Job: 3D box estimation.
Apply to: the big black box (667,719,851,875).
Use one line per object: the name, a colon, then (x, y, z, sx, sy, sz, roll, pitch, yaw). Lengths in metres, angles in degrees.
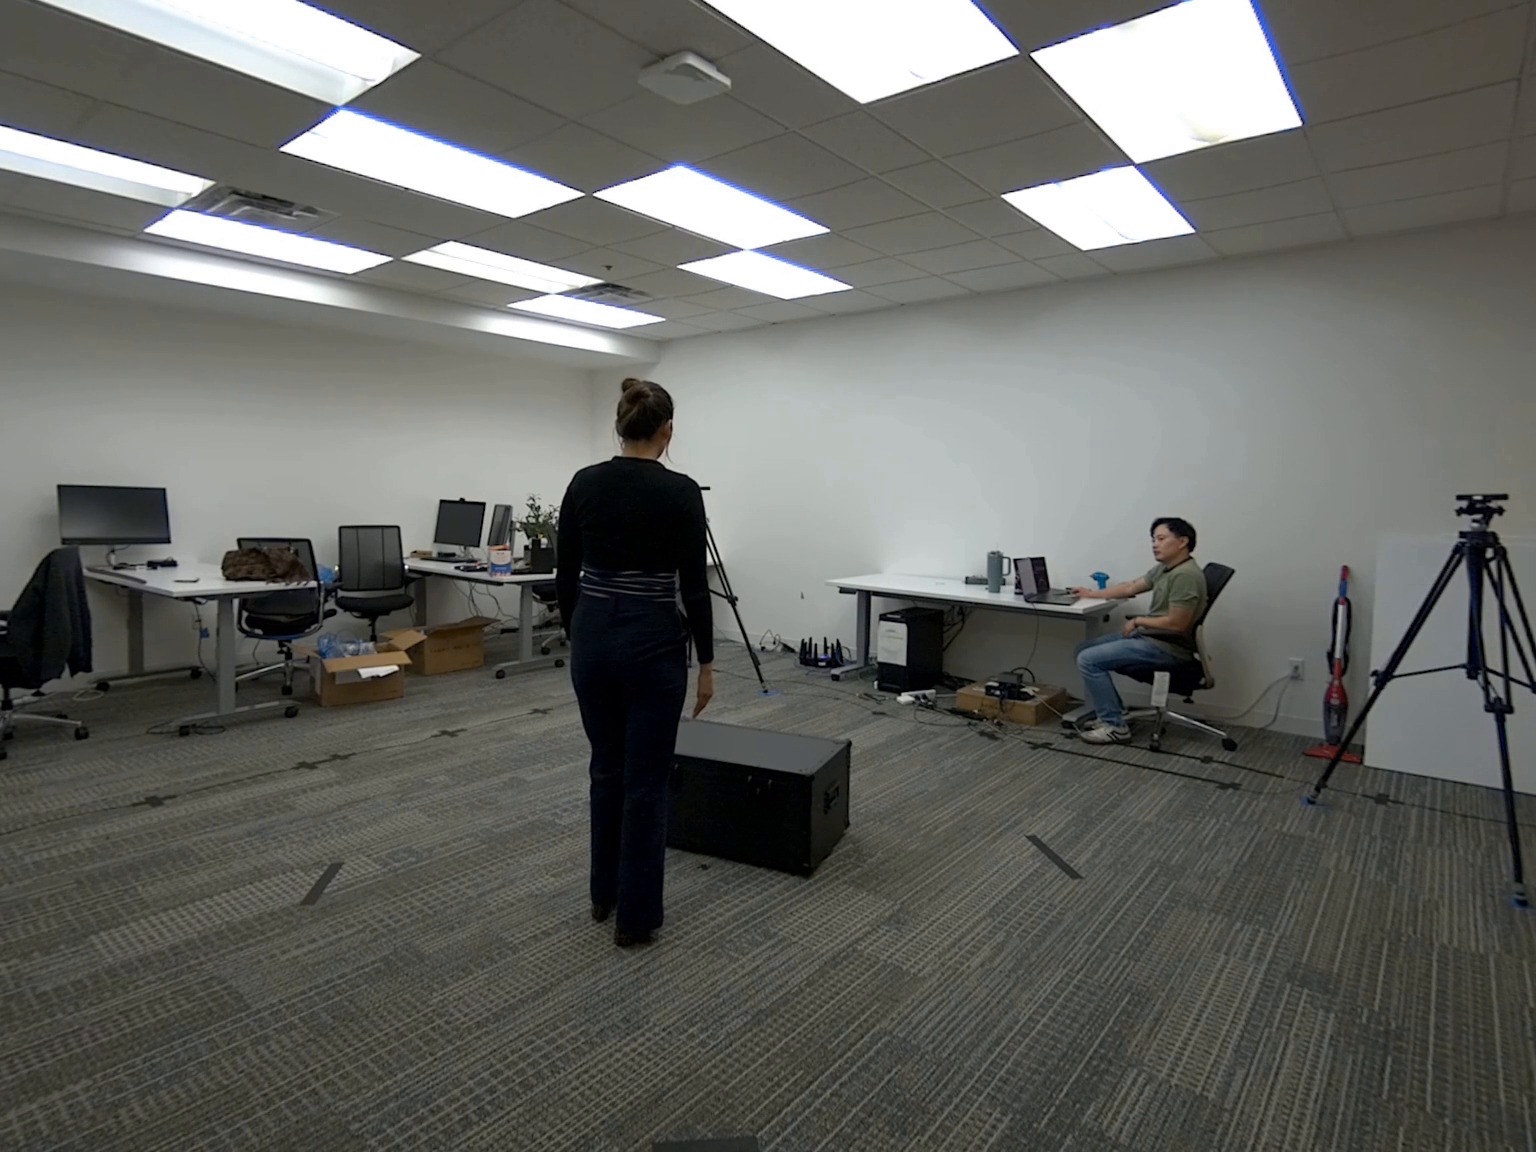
big black box: (-0.153, 0.845, 3.410, 0.883, 0.395, 0.510, 3, 6, 24)
